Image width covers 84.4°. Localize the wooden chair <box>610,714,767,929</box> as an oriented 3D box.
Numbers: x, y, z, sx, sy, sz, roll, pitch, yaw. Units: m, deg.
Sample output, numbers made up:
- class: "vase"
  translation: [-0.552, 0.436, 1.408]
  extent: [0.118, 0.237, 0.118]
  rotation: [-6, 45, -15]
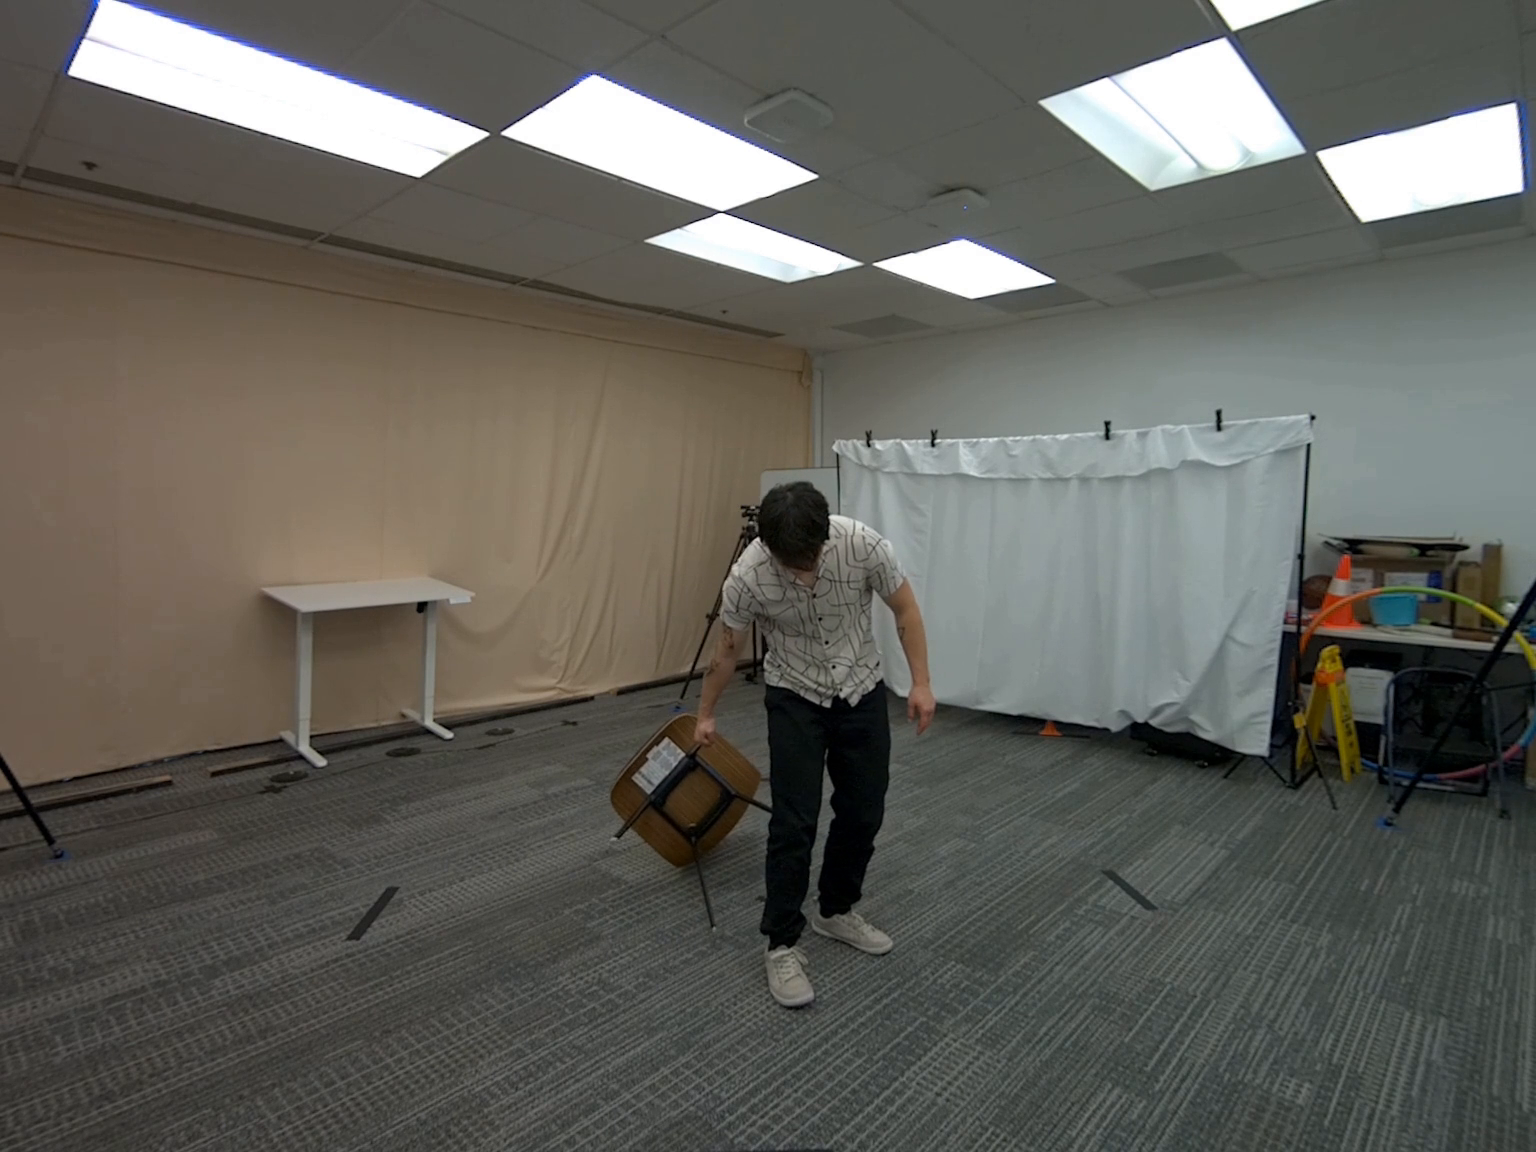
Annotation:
- class: "wooden chair"
  translation: [-0.282, 0.818, 3.094]
  extent: [0.521, 0.477, 0.882]
  rotation: [43, -7, -4]
